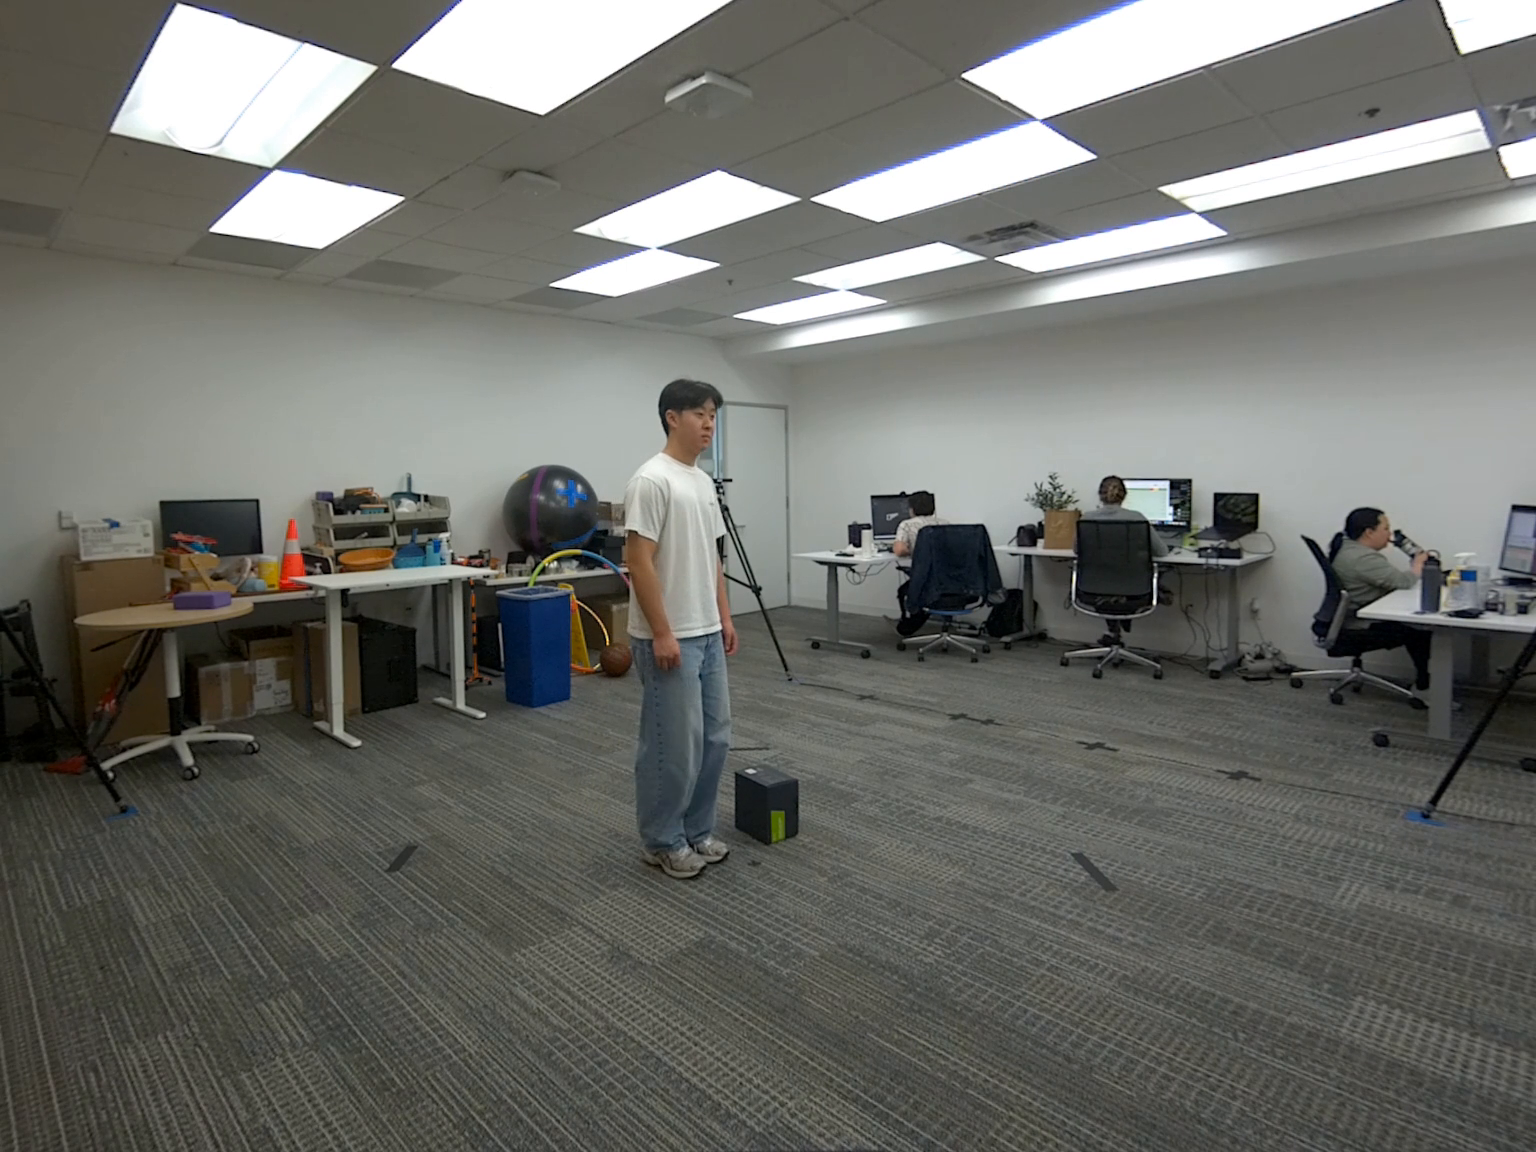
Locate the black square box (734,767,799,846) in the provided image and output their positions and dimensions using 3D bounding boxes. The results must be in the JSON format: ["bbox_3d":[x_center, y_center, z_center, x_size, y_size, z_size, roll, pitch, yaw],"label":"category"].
[{"bbox_3d":[-0.004,0.895,3.378,0.152,0.227,0.223,-3,6,-37],"label":"black square box"}]
